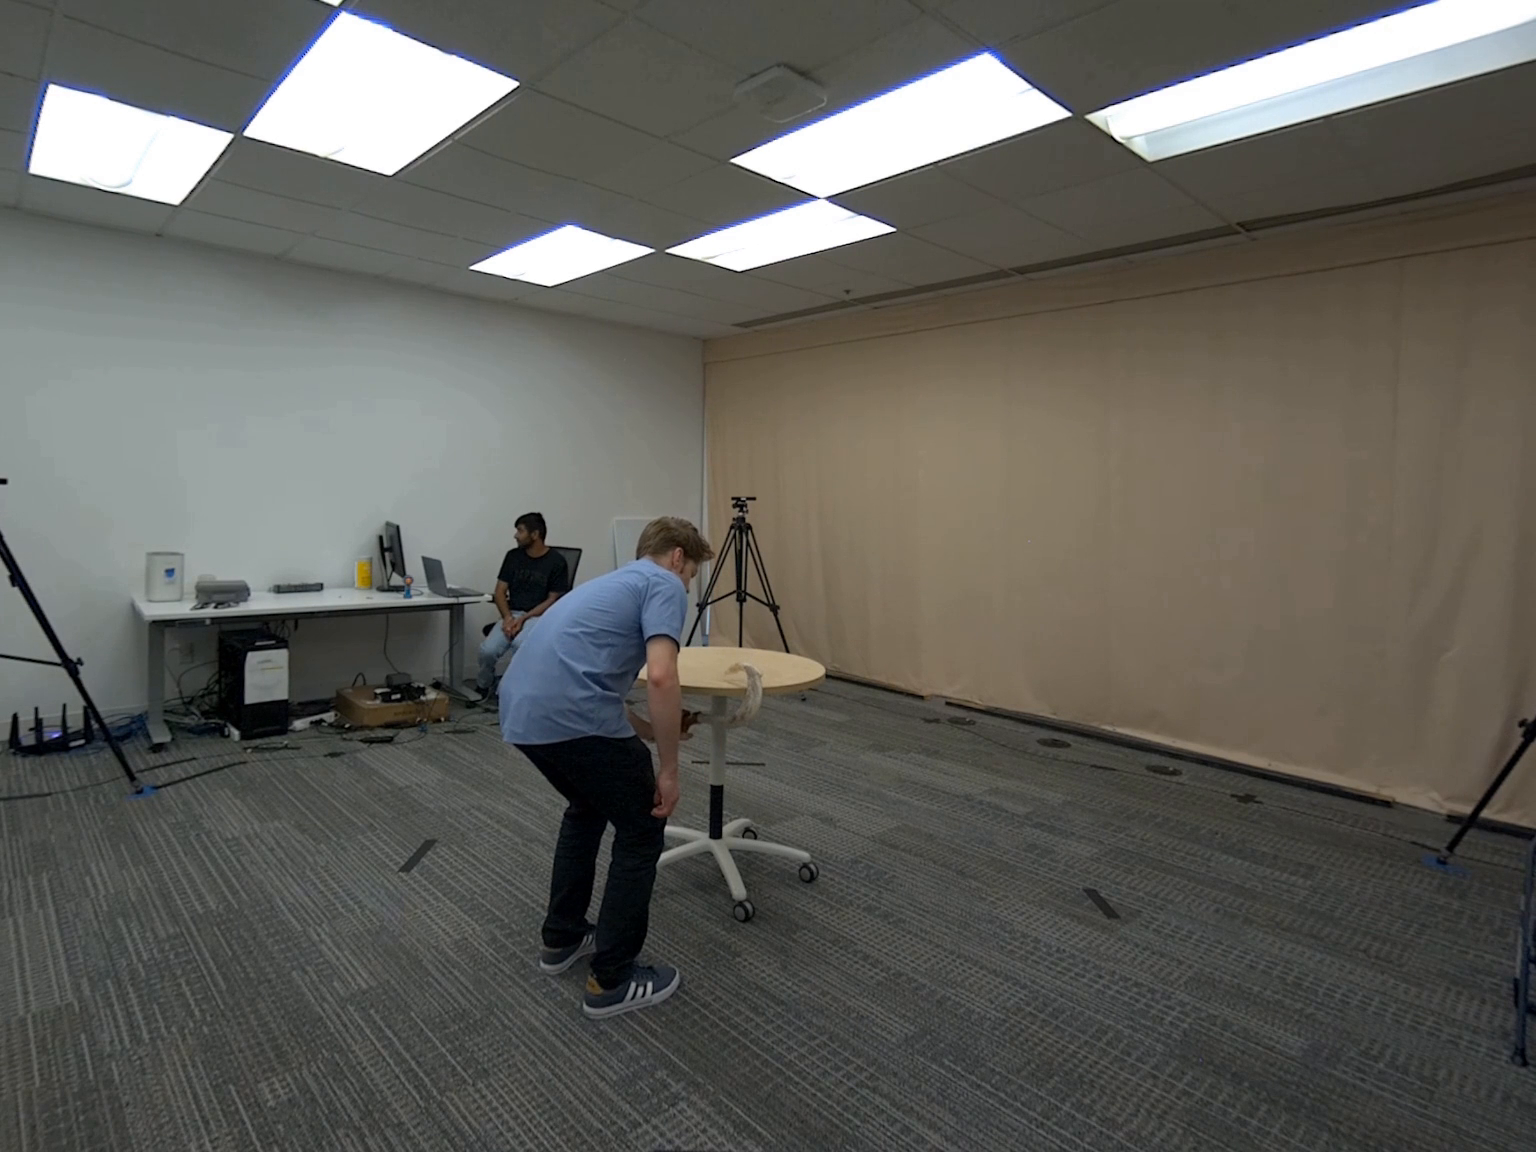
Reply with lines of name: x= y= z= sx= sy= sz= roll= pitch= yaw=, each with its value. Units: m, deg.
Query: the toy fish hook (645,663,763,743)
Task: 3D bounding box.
toy fish hook: x=-0.197 y=0.429 z=2.821 sx=0.047 sy=0.228 sz=0.512 roll=31 pitch=-35 yaw=-30
